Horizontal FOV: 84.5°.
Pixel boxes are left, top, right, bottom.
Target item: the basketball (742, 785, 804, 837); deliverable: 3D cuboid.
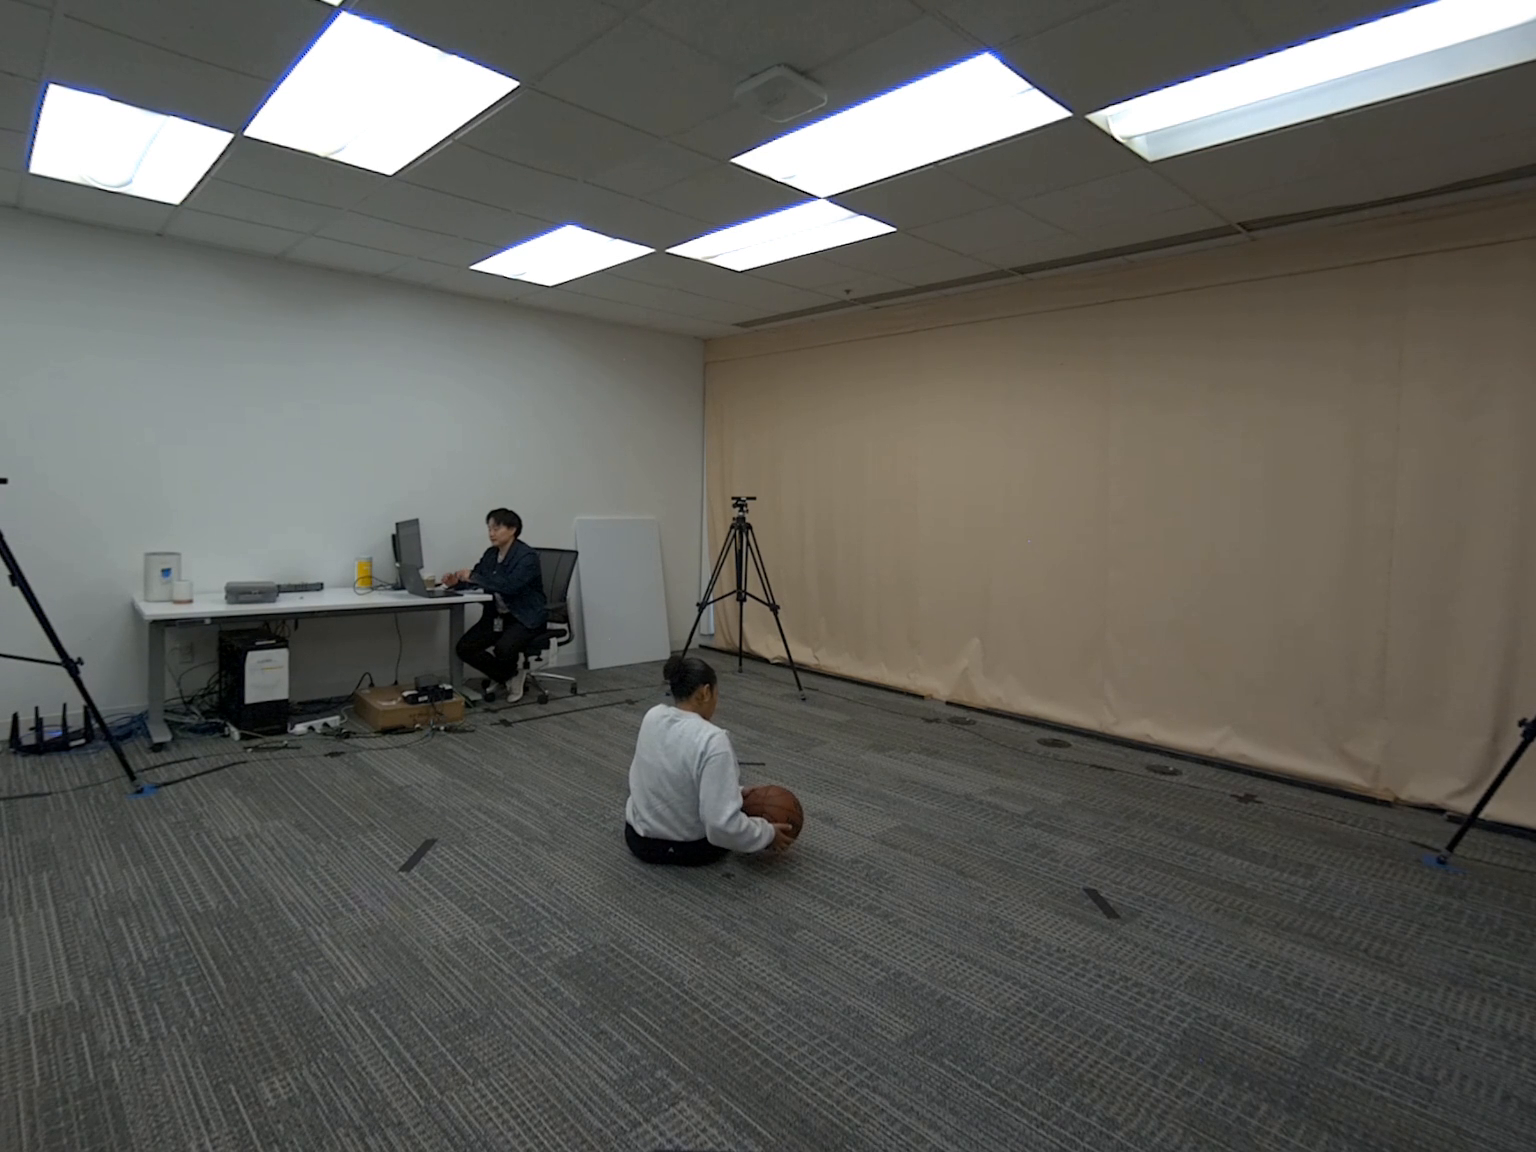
[{"bbox_3d":[0.005,0.923,3.262,0.236,0.235,0.237,1,4,-1],"label":"basketball"}]
